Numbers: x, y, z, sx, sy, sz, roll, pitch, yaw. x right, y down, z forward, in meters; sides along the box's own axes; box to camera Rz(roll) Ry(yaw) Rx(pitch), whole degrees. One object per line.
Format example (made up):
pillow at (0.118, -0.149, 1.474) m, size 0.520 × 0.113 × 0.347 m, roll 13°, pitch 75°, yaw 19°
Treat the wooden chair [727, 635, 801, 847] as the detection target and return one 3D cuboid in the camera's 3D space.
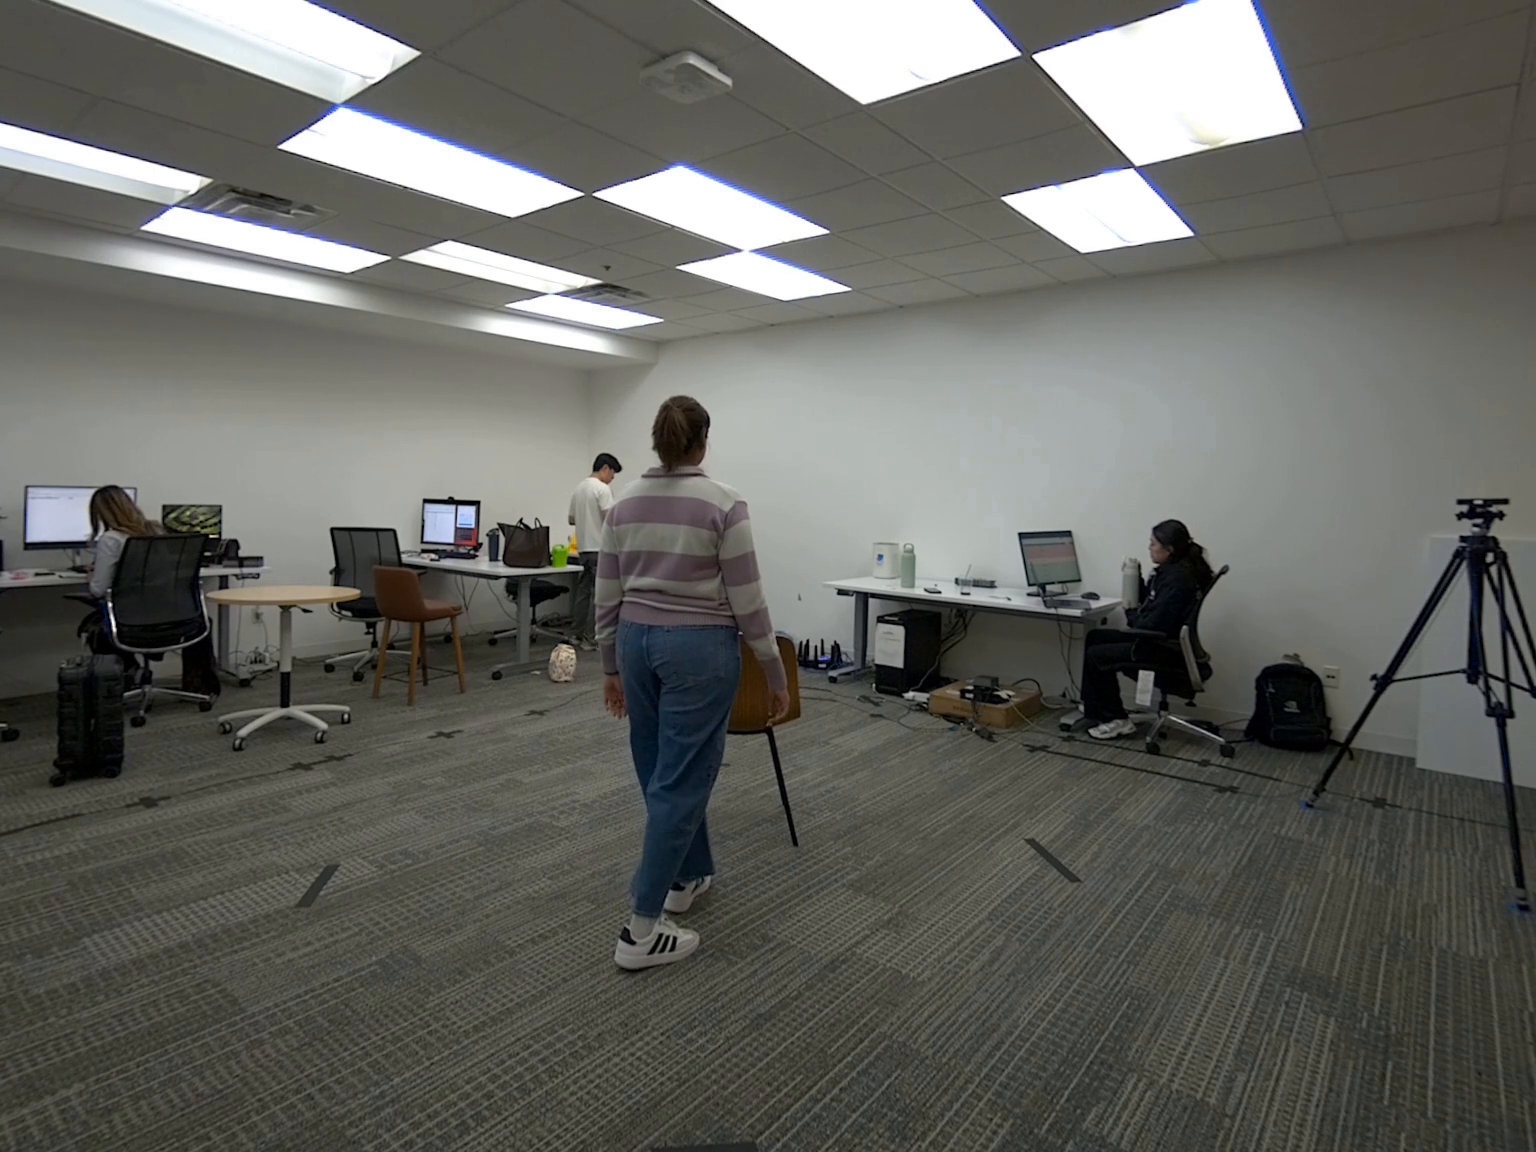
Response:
wooden chair at (-0.130, 0.599, 3.521) m, size 0.477 × 0.871 × 0.528 m, roll 0°, pitch 8°, yaw -3°
